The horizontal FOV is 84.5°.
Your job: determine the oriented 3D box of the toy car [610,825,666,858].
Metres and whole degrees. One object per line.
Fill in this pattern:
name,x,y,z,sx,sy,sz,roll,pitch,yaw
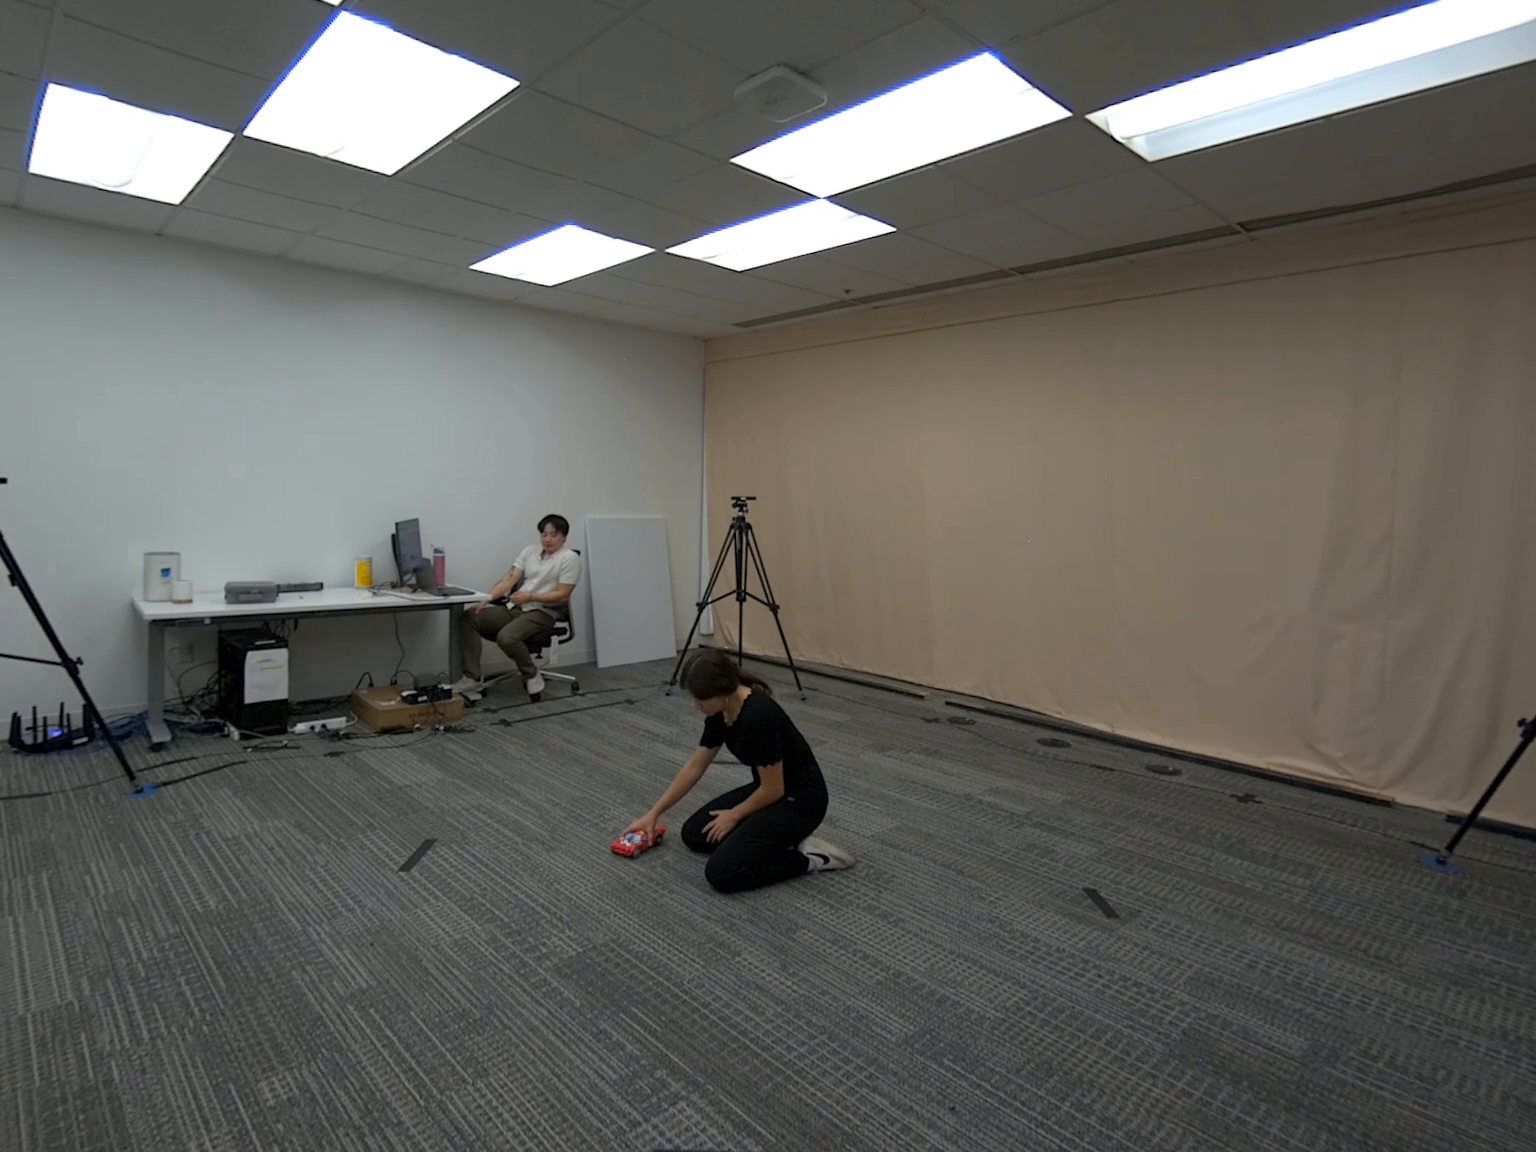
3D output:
toy car,-0.500,1.038,3.339,0.133,0.082,0.252,3,17,30
